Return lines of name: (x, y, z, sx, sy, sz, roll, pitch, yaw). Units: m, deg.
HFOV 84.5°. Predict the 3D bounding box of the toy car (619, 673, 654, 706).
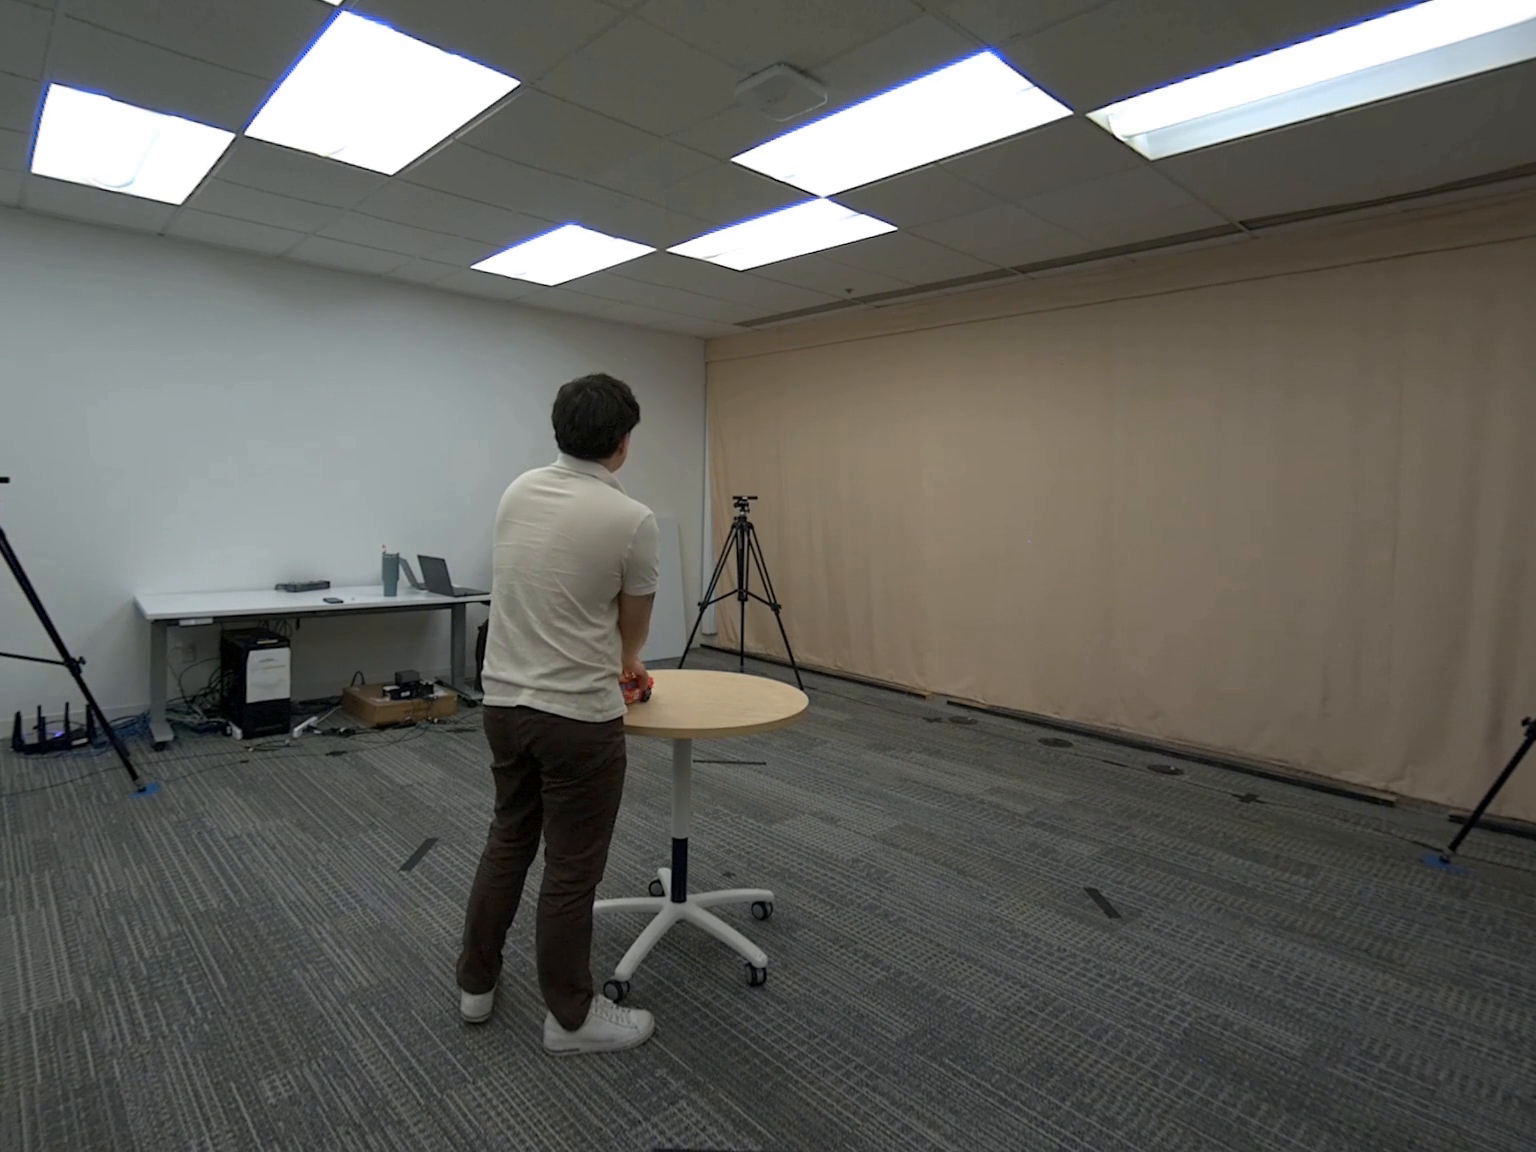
toy car: (-0.431, 0.345, 2.442, 0.132, 0.082, 0.253, 3, 17, 21)
